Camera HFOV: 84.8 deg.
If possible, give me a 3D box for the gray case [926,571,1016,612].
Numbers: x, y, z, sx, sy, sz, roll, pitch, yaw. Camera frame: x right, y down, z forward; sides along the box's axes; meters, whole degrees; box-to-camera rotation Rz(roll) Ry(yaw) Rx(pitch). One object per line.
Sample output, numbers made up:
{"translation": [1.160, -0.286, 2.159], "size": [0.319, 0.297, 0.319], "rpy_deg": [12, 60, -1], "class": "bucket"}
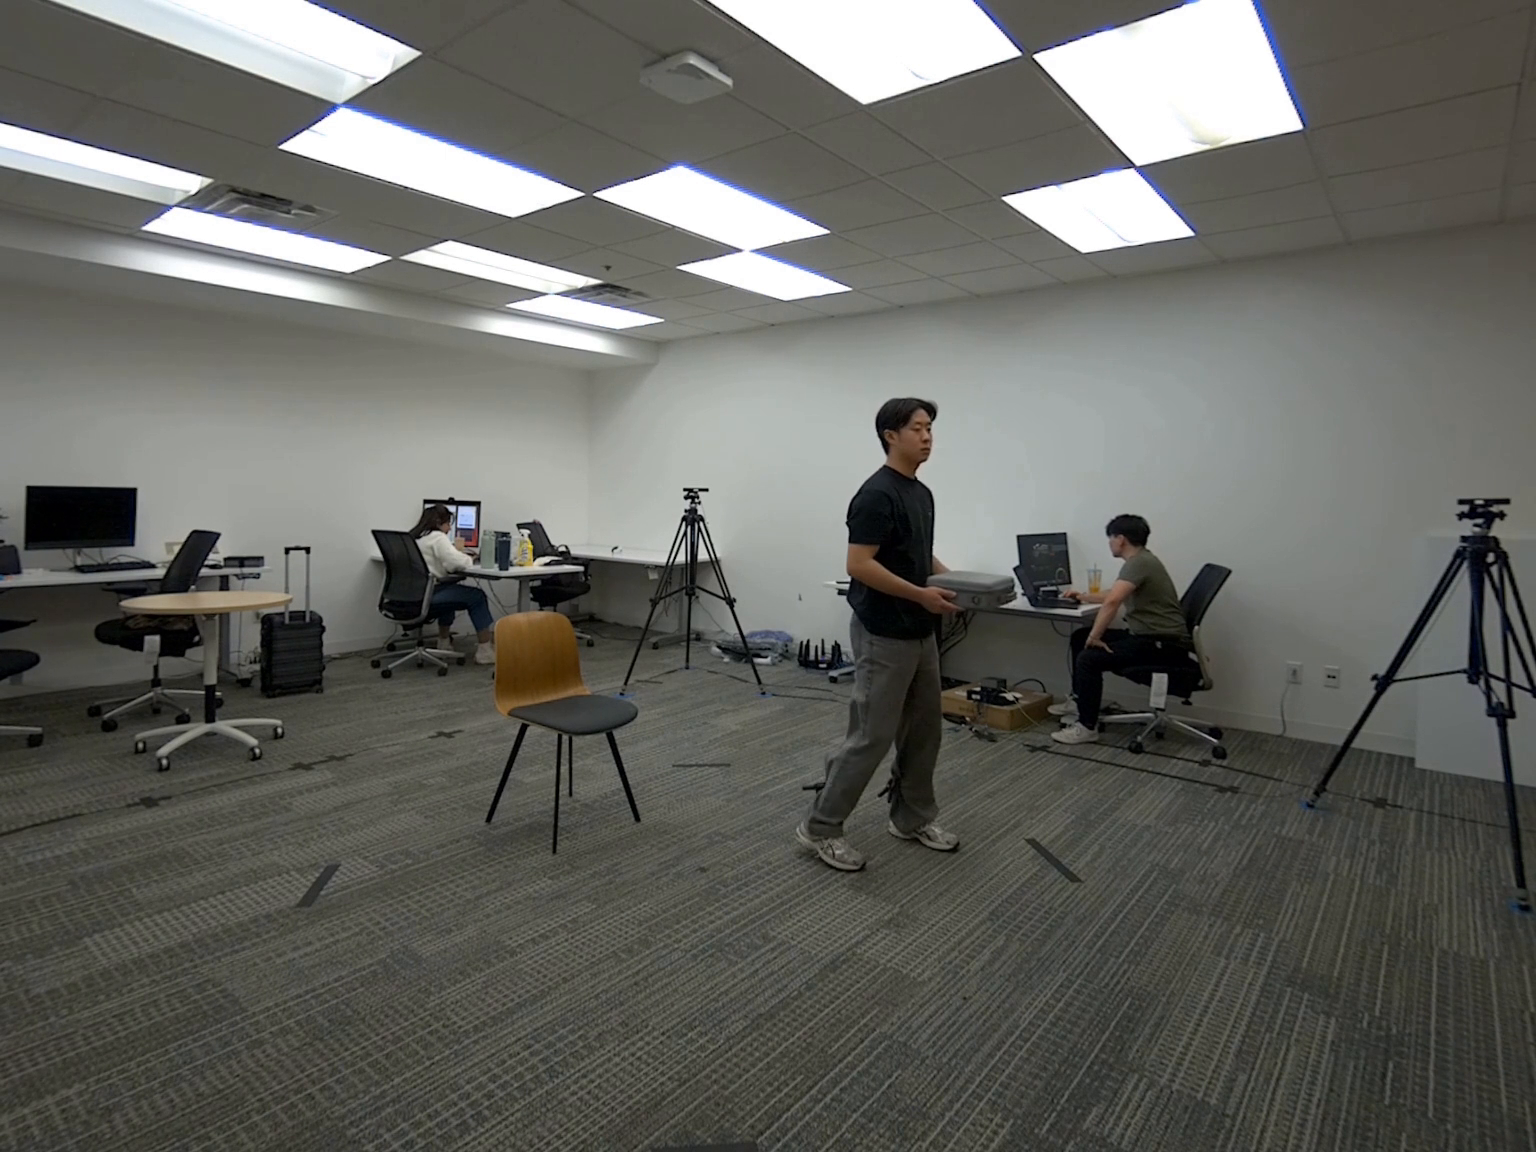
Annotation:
{"translation": [0.739, 0.050, 3.107], "size": [0.297, 0.102, 0.256], "rpy_deg": [7, 11, 39], "class": "gray case"}
